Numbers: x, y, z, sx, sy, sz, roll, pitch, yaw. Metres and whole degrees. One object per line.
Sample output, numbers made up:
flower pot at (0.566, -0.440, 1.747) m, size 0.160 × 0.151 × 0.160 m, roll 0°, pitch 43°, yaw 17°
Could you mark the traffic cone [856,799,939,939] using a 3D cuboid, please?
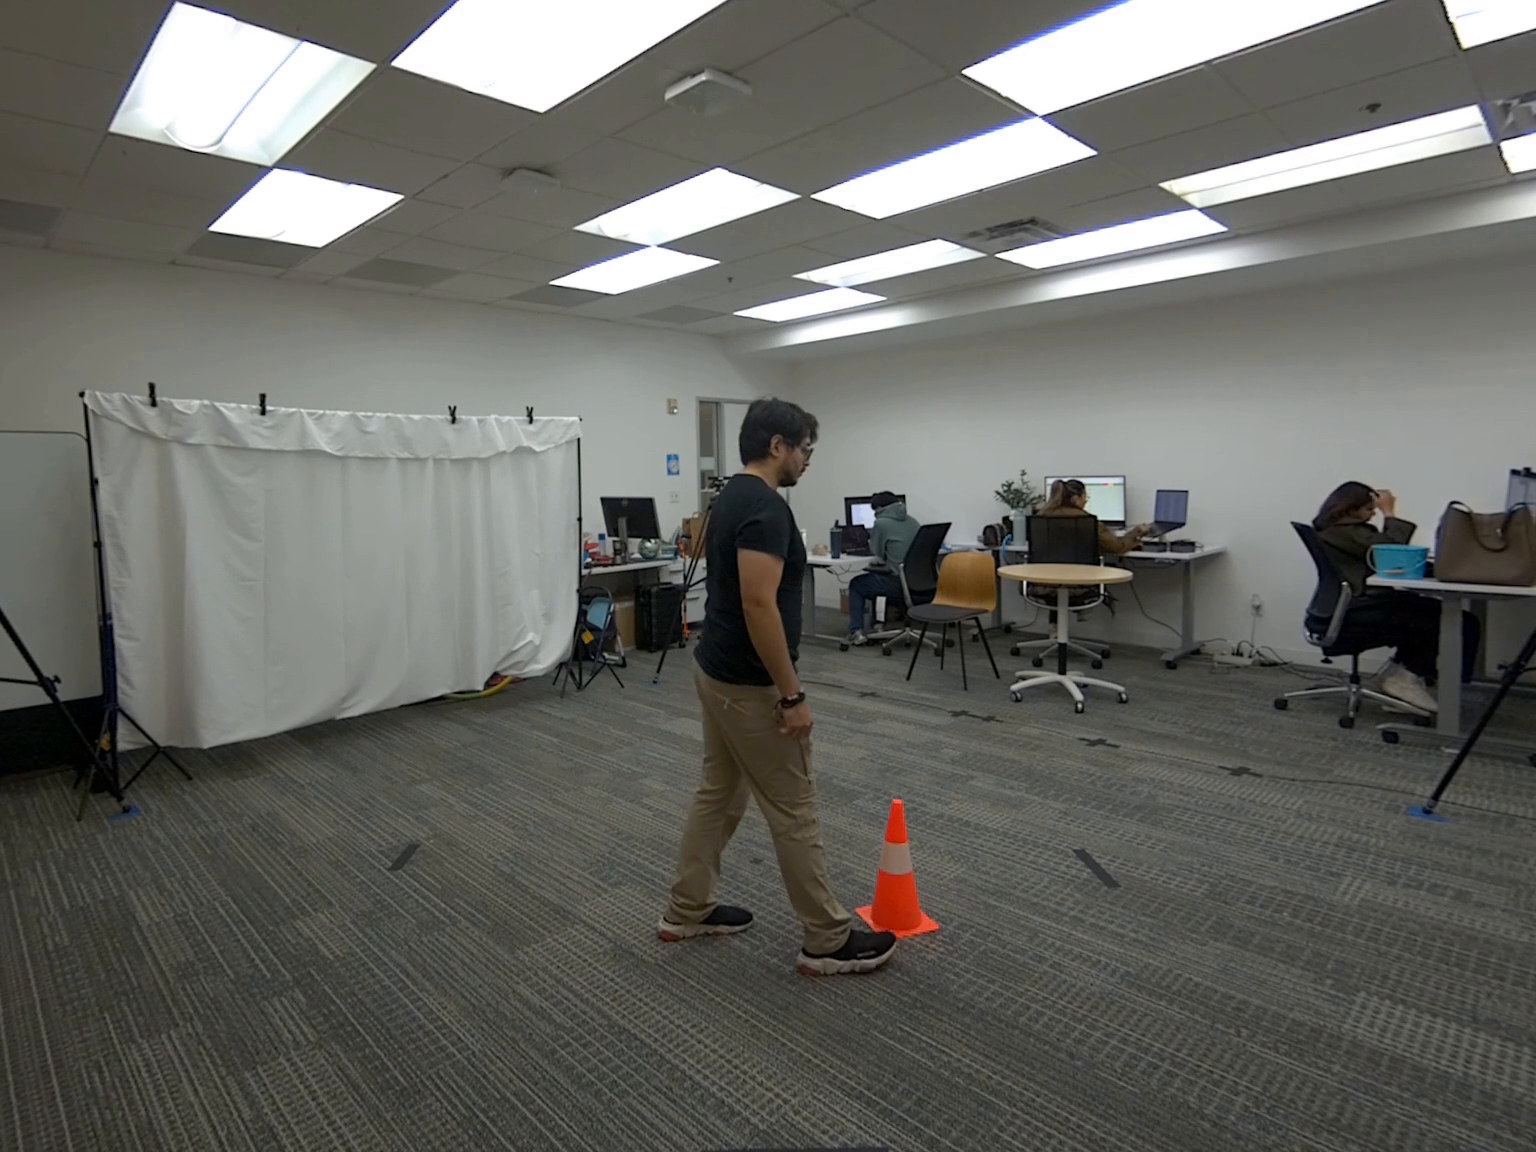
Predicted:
traffic cone at (0.407, 0.891, 2.678) m, size 0.200 × 0.383 × 0.208 m, roll -1°, pitch 2°, yaw -16°
